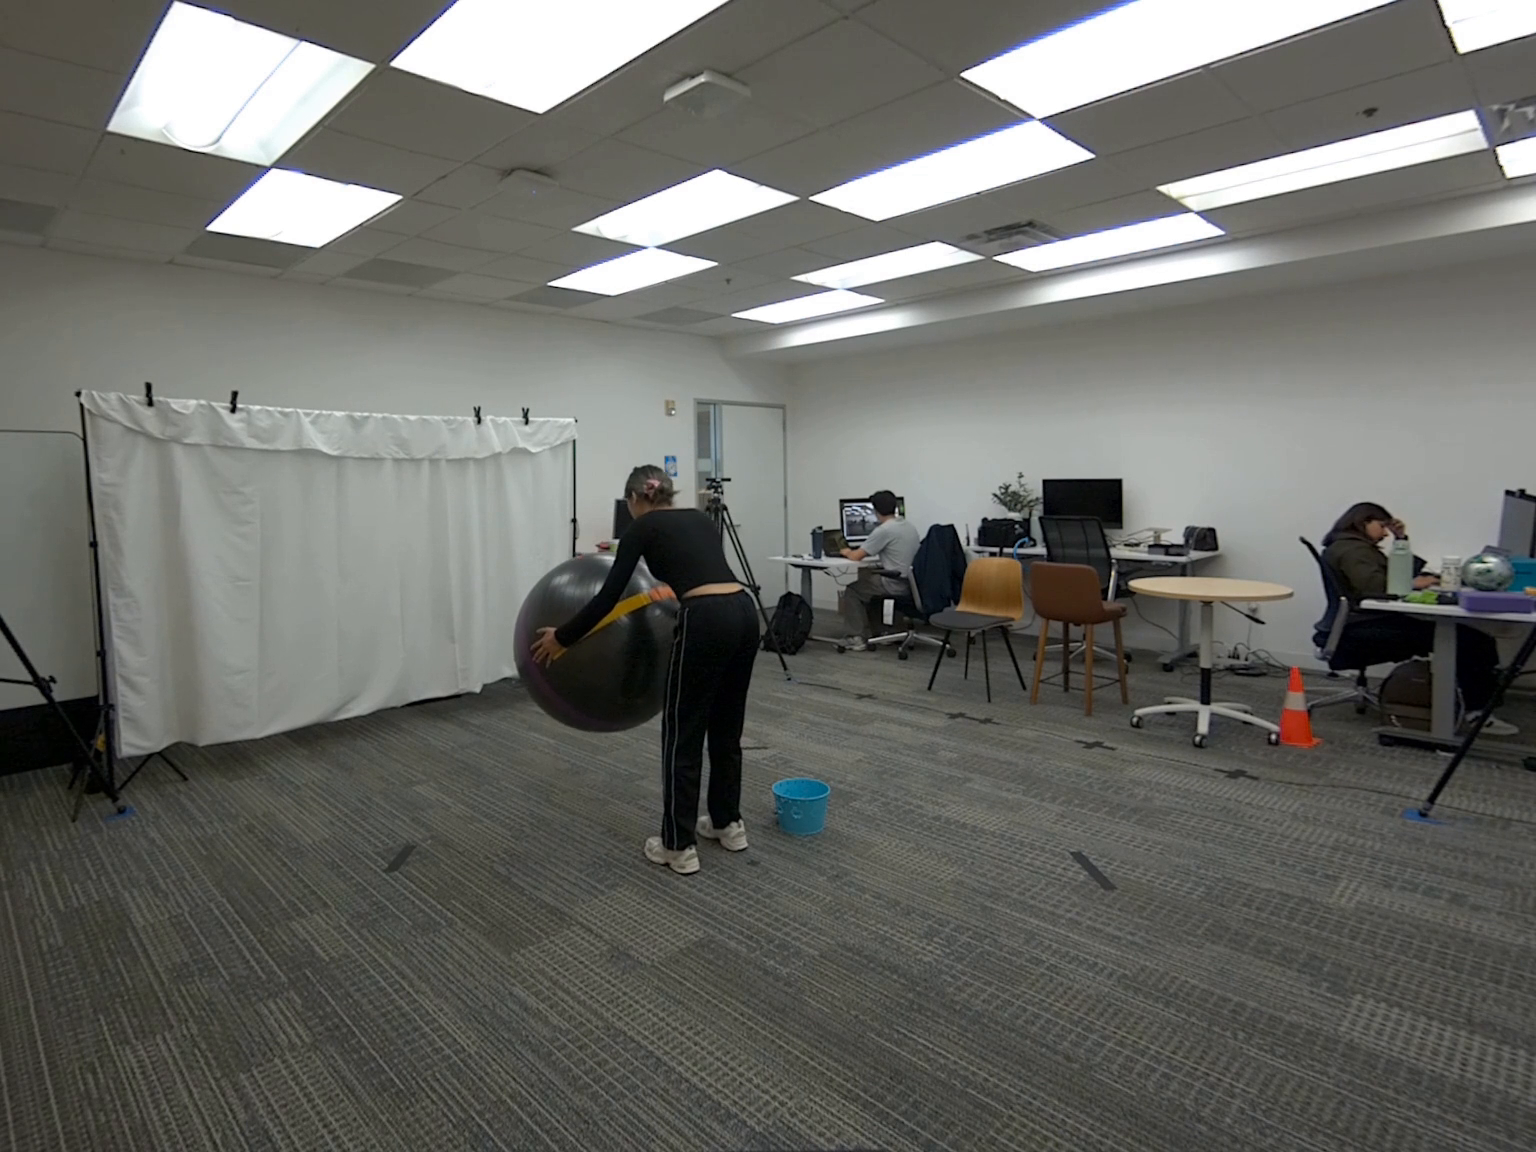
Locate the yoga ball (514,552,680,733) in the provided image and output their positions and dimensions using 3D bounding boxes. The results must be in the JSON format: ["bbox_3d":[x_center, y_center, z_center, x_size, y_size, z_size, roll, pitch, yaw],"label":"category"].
[{"bbox_3d":[-0.699,0.282,3.641,0.757,0.755,0.762,-1,5,-2],"label":"yoga ball"}]
